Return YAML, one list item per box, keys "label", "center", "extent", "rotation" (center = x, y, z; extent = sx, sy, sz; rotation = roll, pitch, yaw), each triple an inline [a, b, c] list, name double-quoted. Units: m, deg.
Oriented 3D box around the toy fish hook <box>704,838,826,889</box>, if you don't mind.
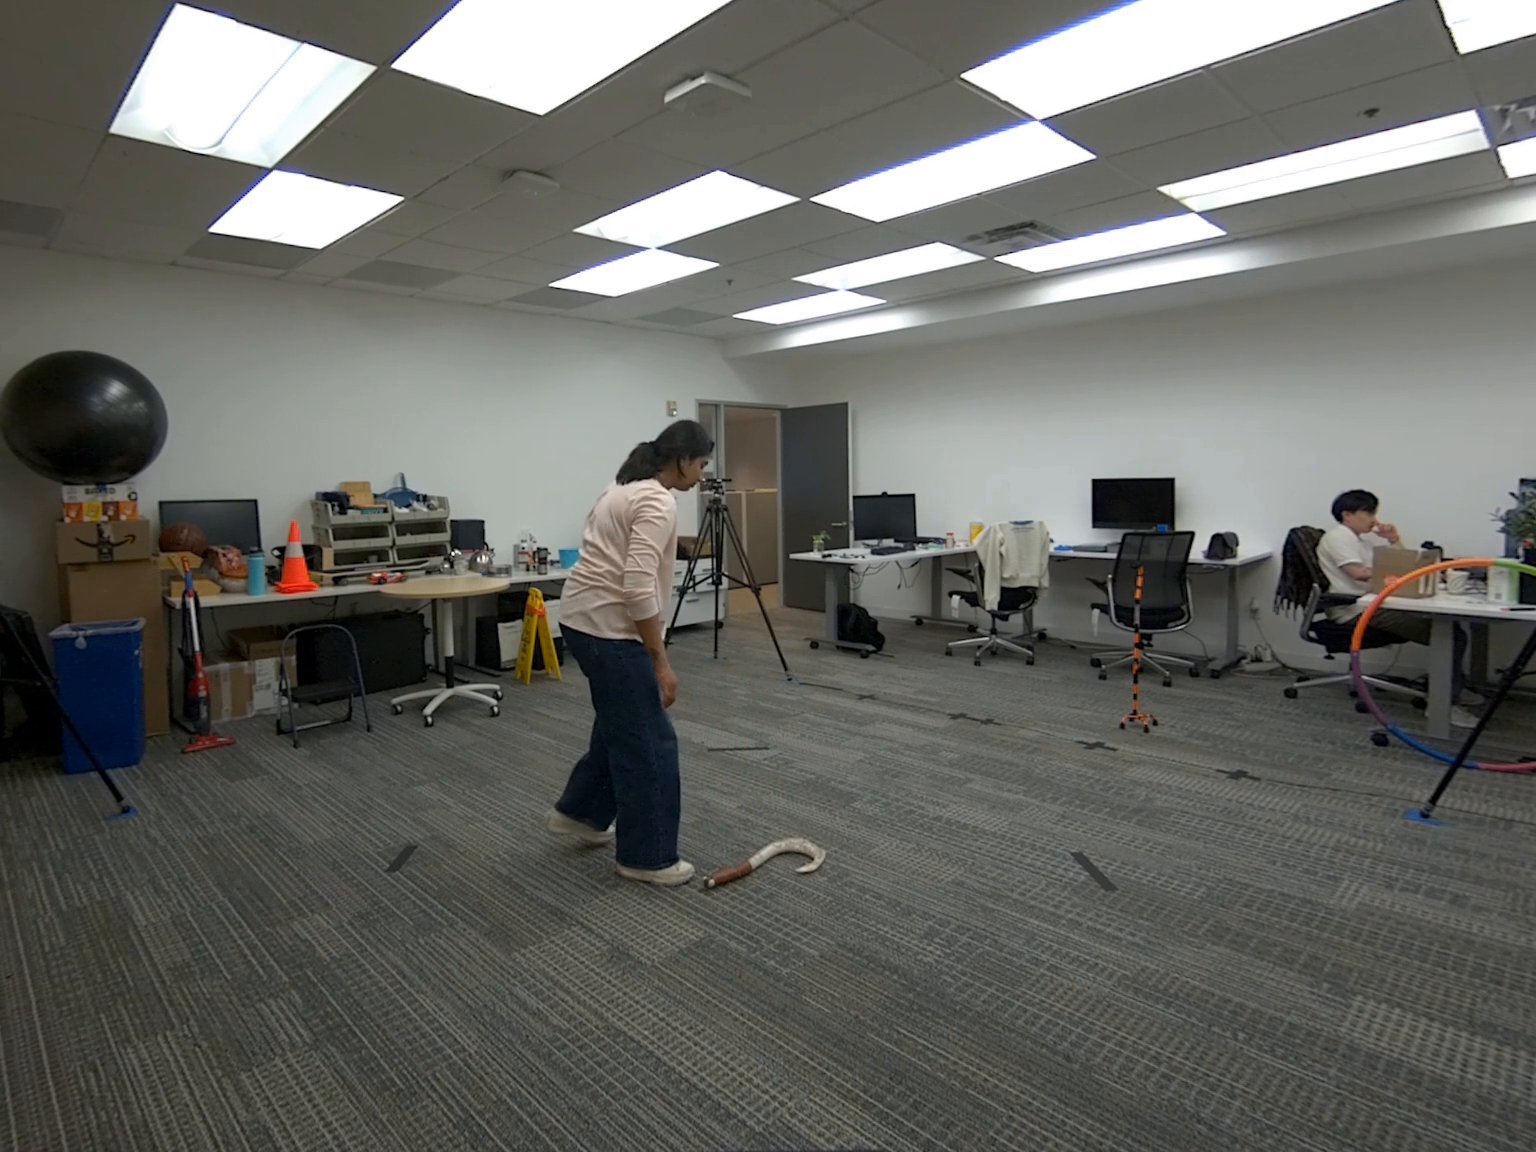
- label: "toy fish hook"
  center: [0.000, 1.024, 3.025]
  extent: [0.493, 0.048, 0.231]
  rotation: [-7, 8, -42]
